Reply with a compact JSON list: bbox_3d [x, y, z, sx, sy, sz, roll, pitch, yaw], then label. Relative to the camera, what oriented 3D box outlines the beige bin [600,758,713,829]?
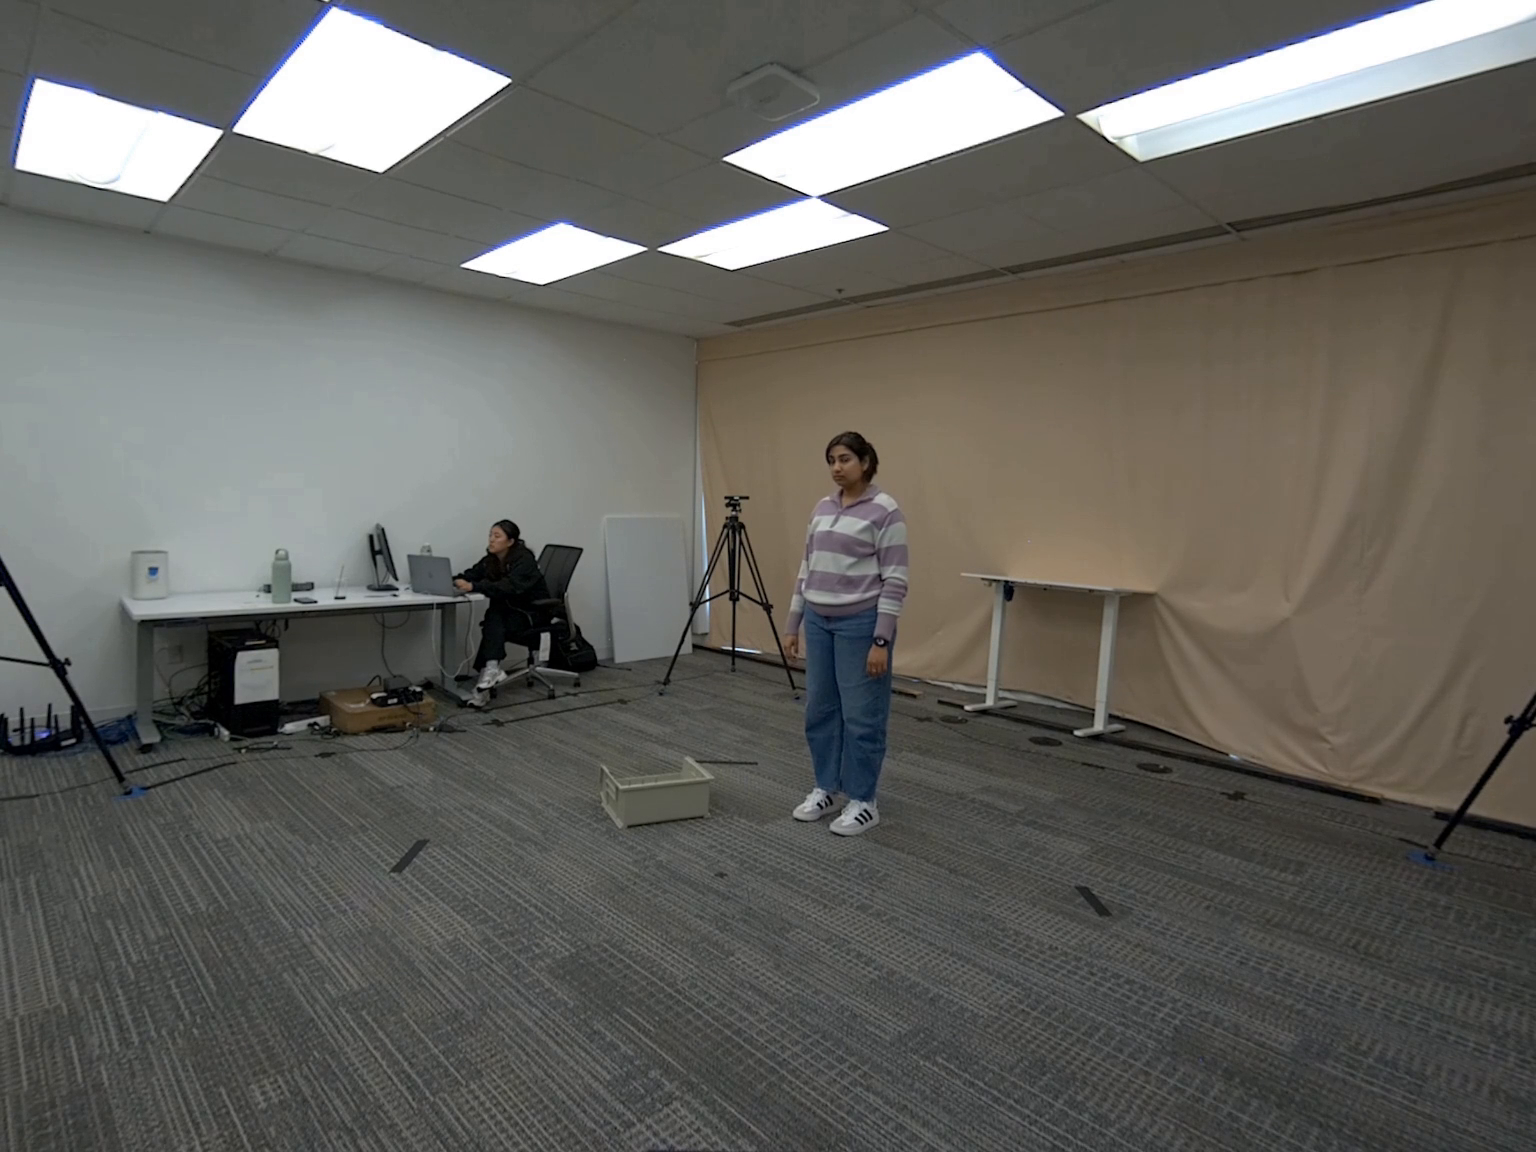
[{"bbox_3d":[-0.517,0.952,3.745,0.415,0.188,0.385,0,6,-25],"label":"beige bin"}]
